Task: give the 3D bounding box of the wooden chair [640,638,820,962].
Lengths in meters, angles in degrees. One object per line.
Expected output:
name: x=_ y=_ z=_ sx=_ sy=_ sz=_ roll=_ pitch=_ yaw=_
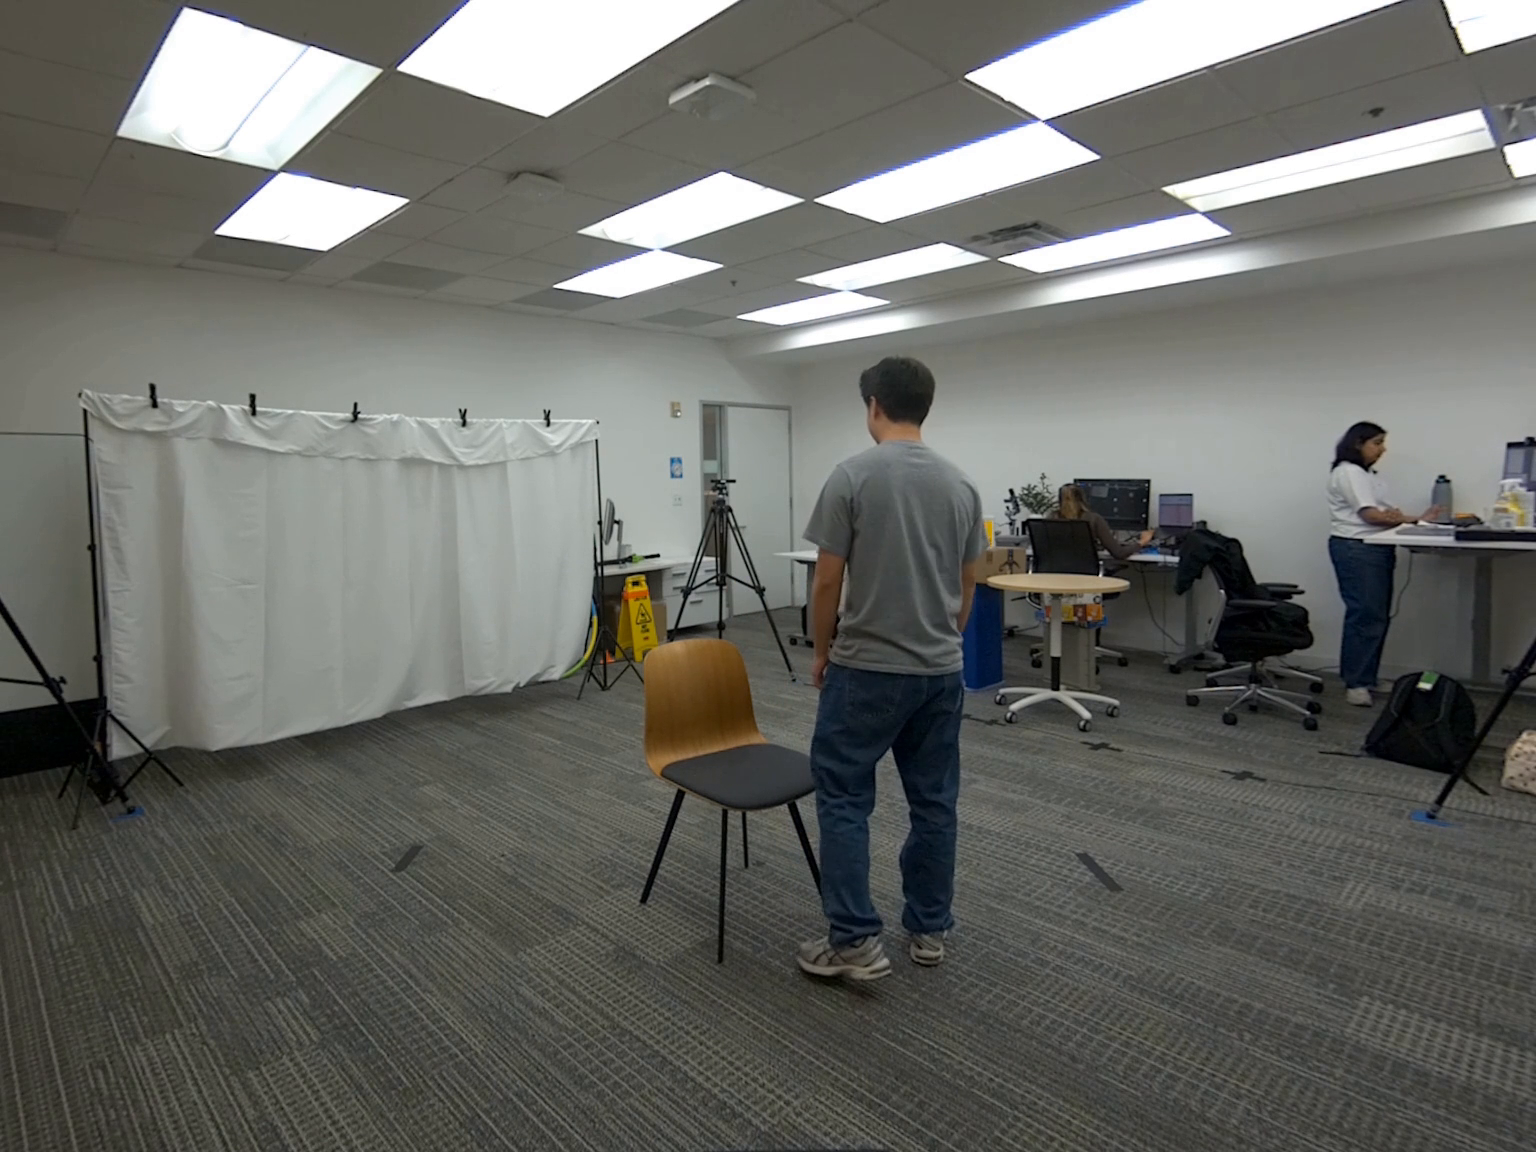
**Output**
wooden chair: x=-0.110 y=0.664 z=2.744 sx=0.466 sy=0.877 sz=0.537 roll=-4 pitch=1 yaw=-37
